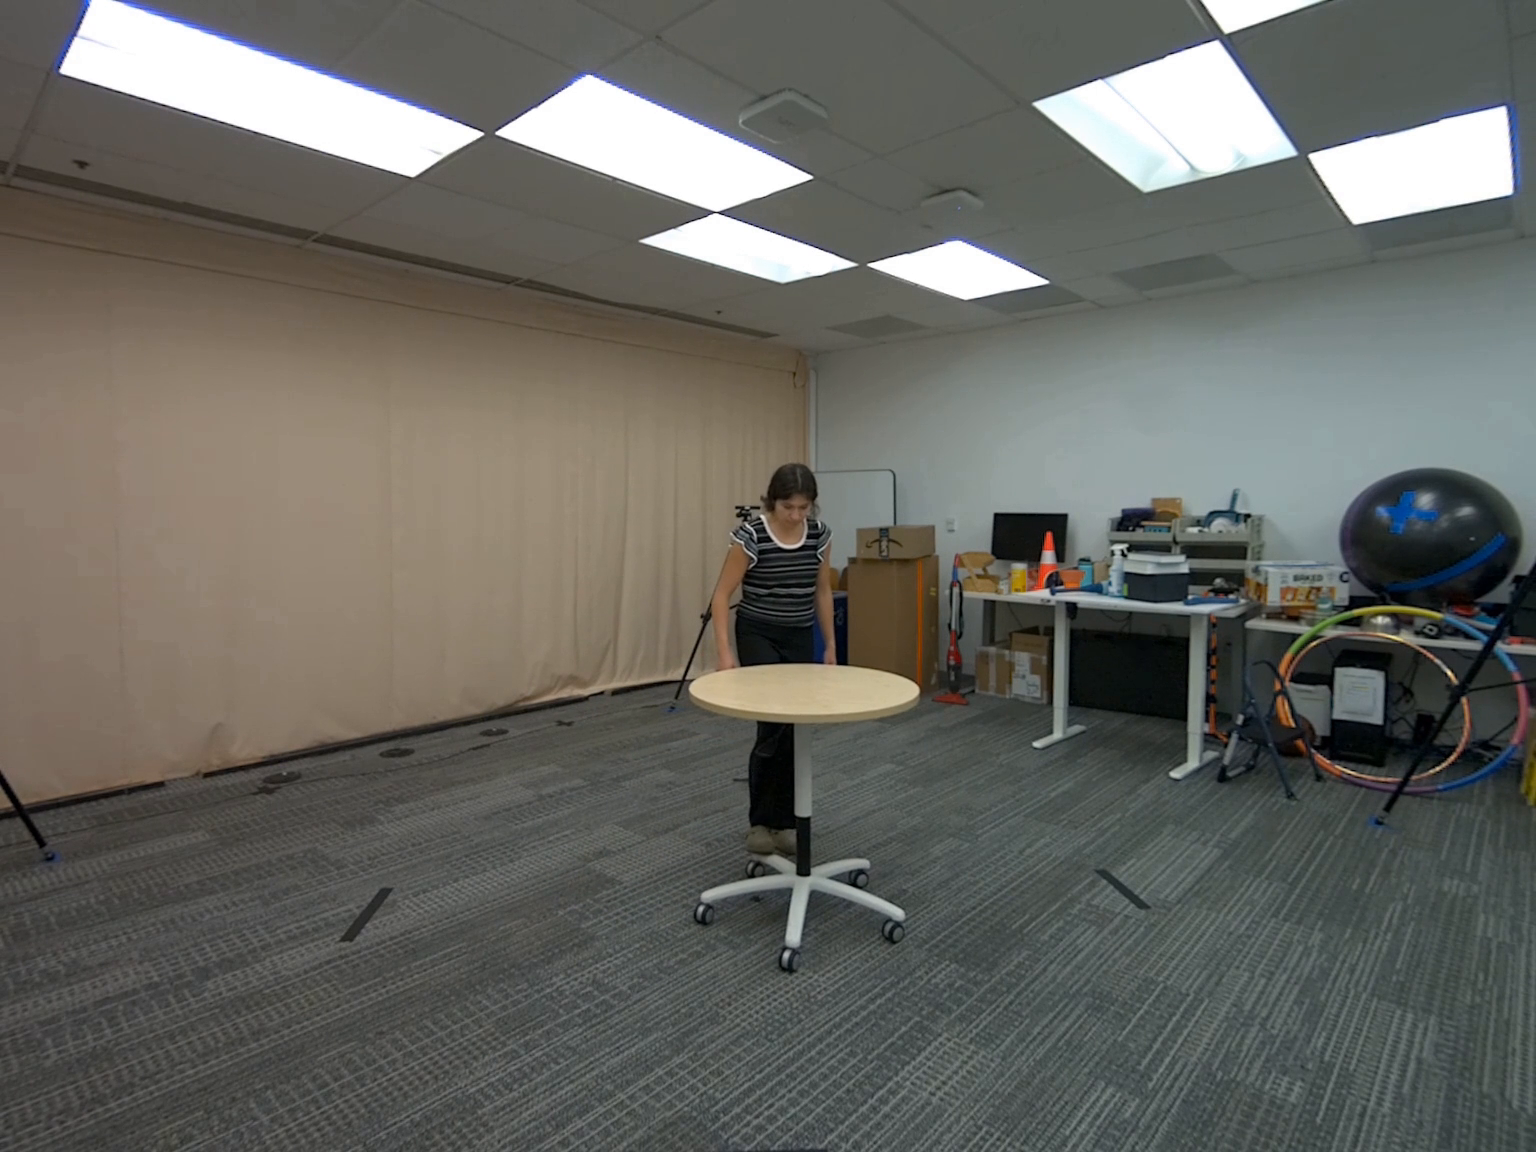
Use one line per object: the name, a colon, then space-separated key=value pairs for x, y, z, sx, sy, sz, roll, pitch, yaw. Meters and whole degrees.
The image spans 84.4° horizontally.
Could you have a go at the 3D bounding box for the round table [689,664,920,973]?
round table: x=0.136 y=0.758 z=2.854 sx=0.784 sy=0.785 sz=0.788 roll=-1 pitch=4 yaw=-2
